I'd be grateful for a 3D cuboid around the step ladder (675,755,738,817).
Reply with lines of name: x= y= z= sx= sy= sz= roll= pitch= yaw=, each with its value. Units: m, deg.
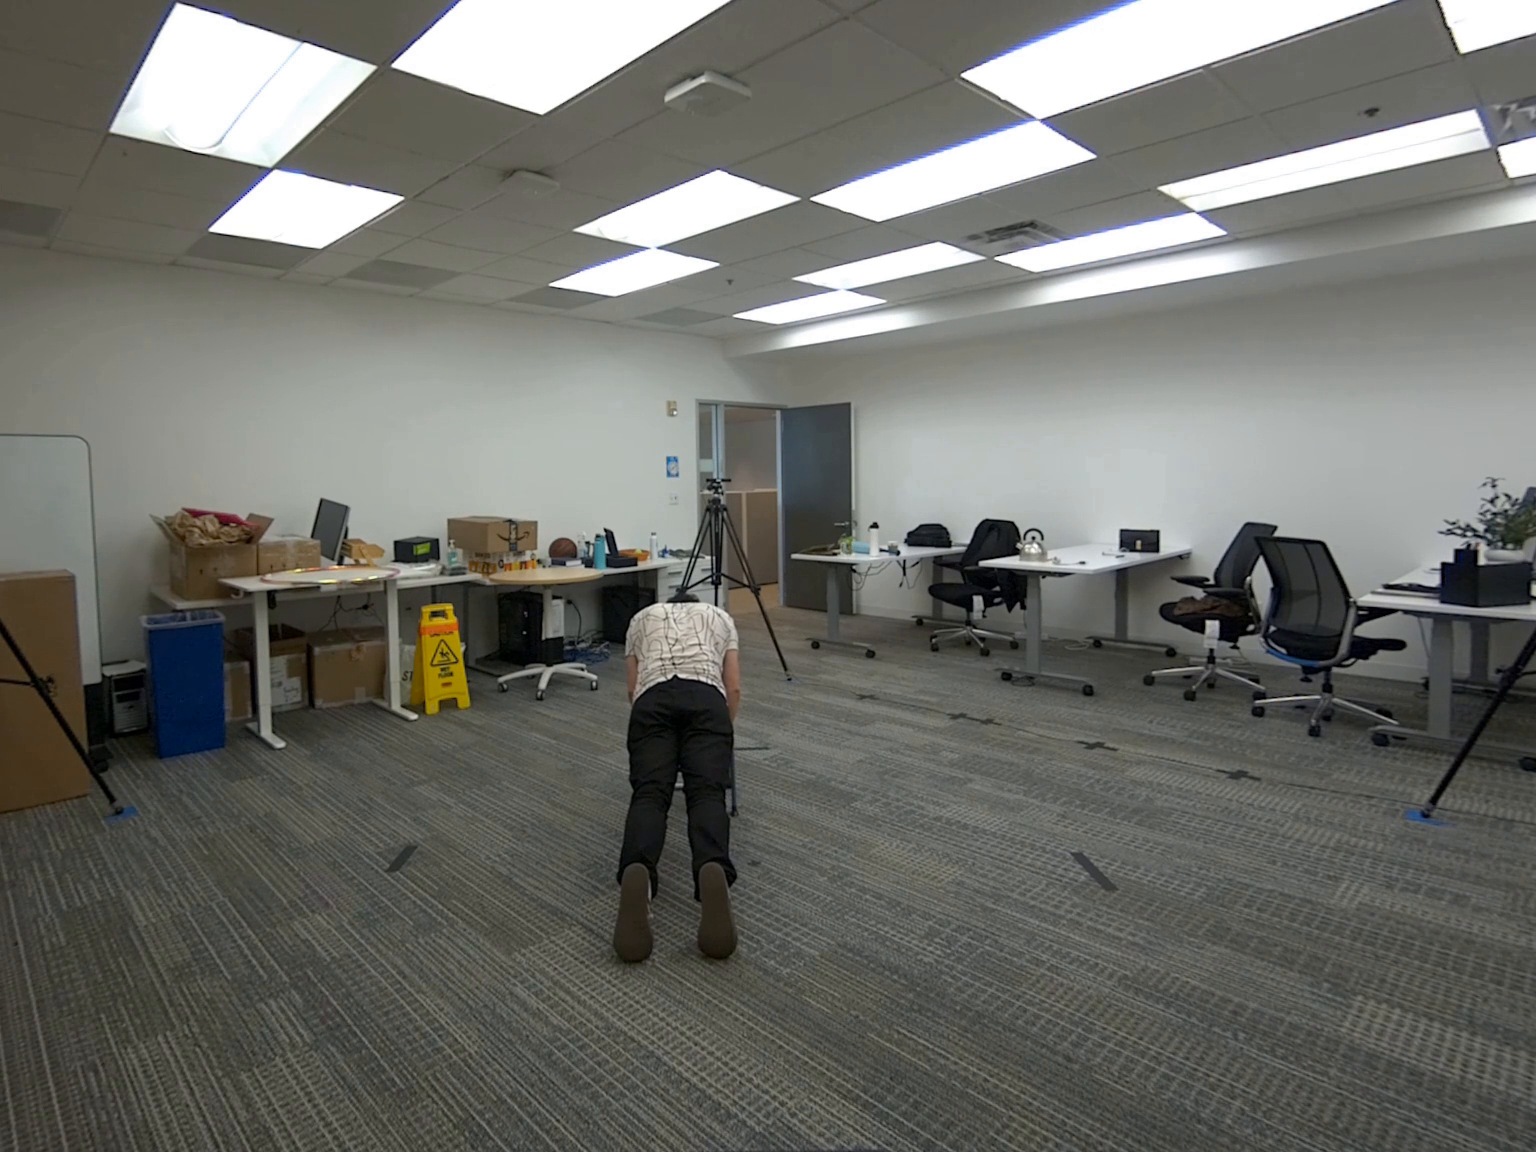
step ladder: x=-0.349 y=0.687 z=3.698 sx=0.430 sy=0.604 sz=0.351 roll=0 pitch=5 yaw=-3
